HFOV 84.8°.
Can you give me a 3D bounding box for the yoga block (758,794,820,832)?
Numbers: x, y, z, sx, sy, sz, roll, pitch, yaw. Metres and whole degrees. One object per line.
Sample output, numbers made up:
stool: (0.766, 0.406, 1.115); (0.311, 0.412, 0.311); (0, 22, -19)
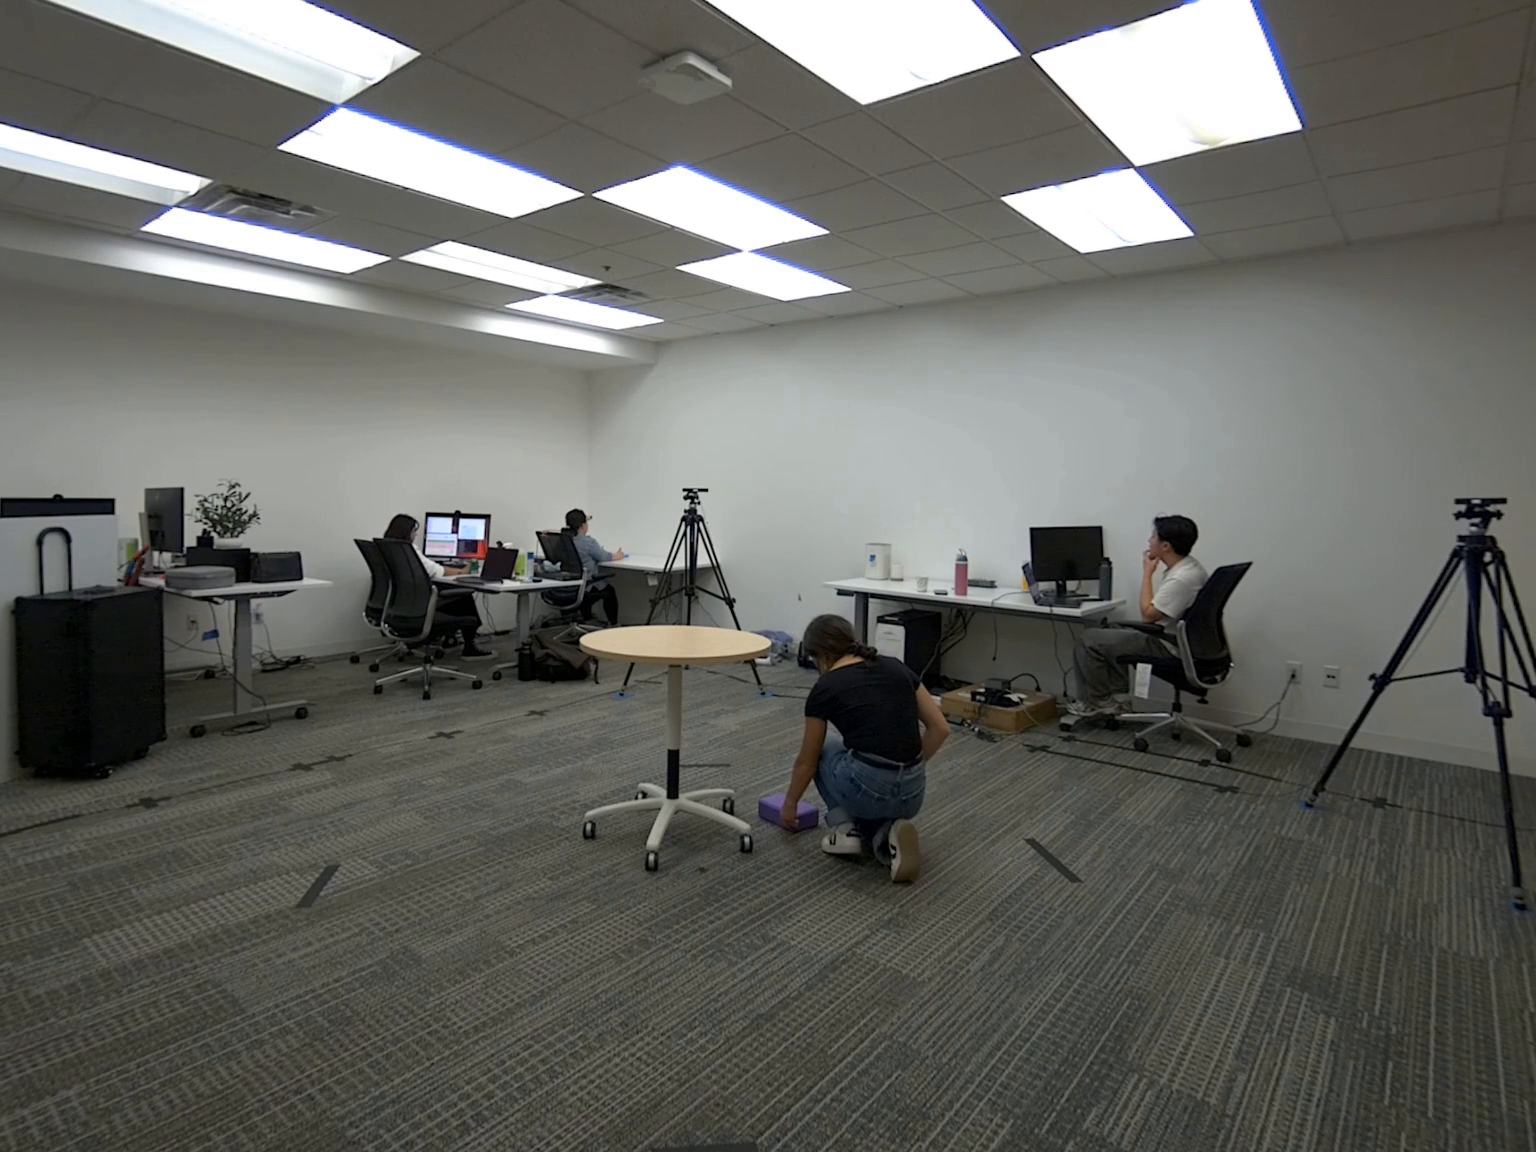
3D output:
yoga block: (0.088, 0.985, 3.578); (0.144, 0.076, 0.237); (-3, 7, -42)
